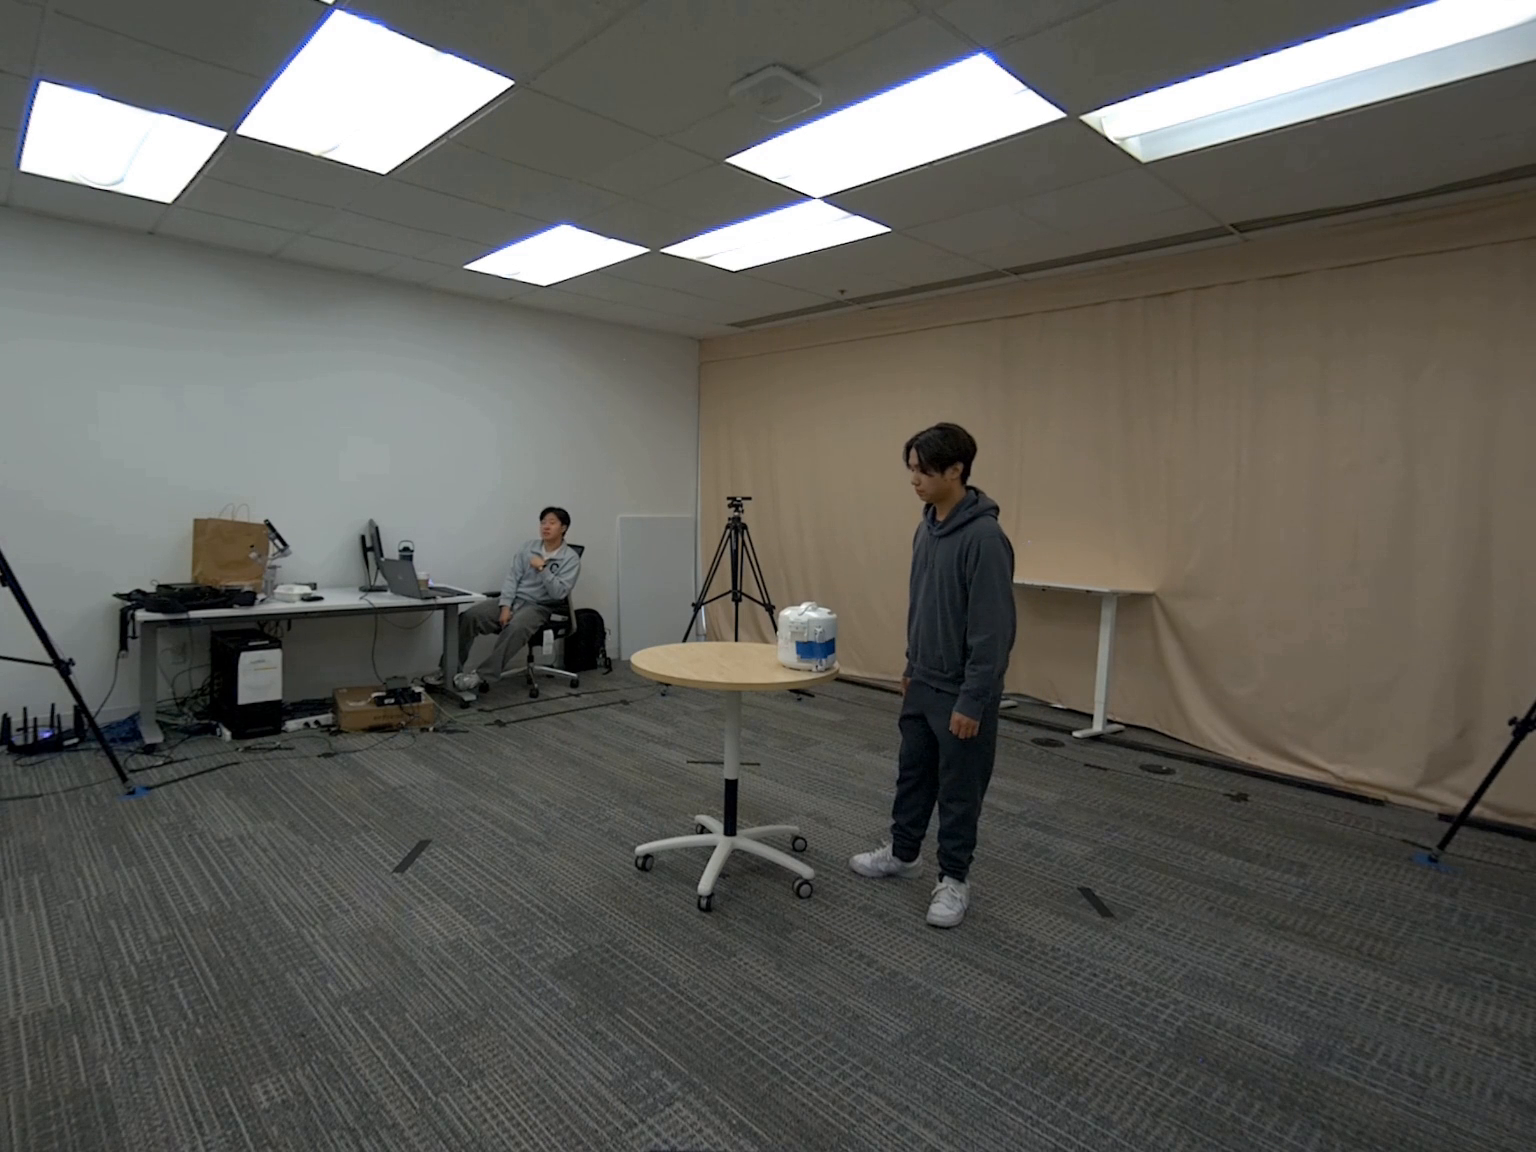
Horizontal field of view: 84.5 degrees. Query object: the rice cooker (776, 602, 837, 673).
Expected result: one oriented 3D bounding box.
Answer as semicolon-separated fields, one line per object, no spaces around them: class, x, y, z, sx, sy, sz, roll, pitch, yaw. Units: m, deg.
rice cooker;0.140;0.208;3.015;0.221;0.232;0.217;5;5;23
